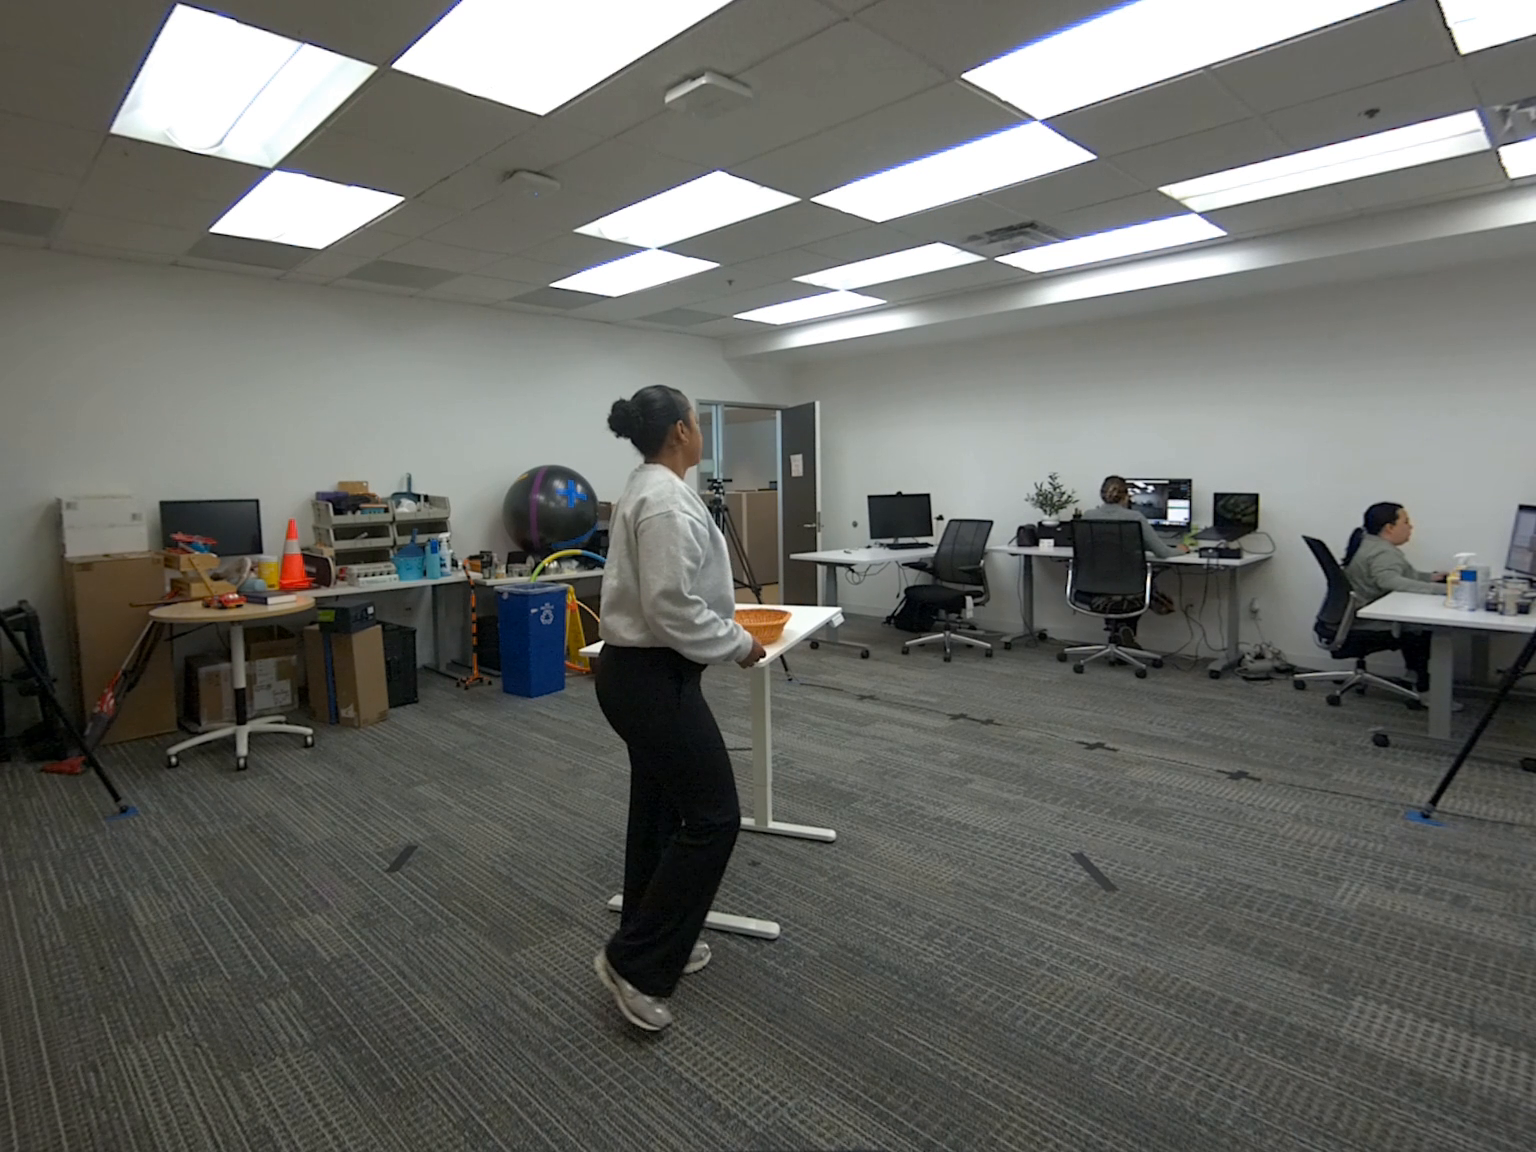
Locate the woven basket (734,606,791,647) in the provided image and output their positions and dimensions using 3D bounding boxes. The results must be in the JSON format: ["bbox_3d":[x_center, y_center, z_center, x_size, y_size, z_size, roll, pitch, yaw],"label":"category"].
[{"bbox_3d":[-0.054,0.165,2.761,0.257,0.073,0.345,1,6,20],"label":"woven basket"}]
